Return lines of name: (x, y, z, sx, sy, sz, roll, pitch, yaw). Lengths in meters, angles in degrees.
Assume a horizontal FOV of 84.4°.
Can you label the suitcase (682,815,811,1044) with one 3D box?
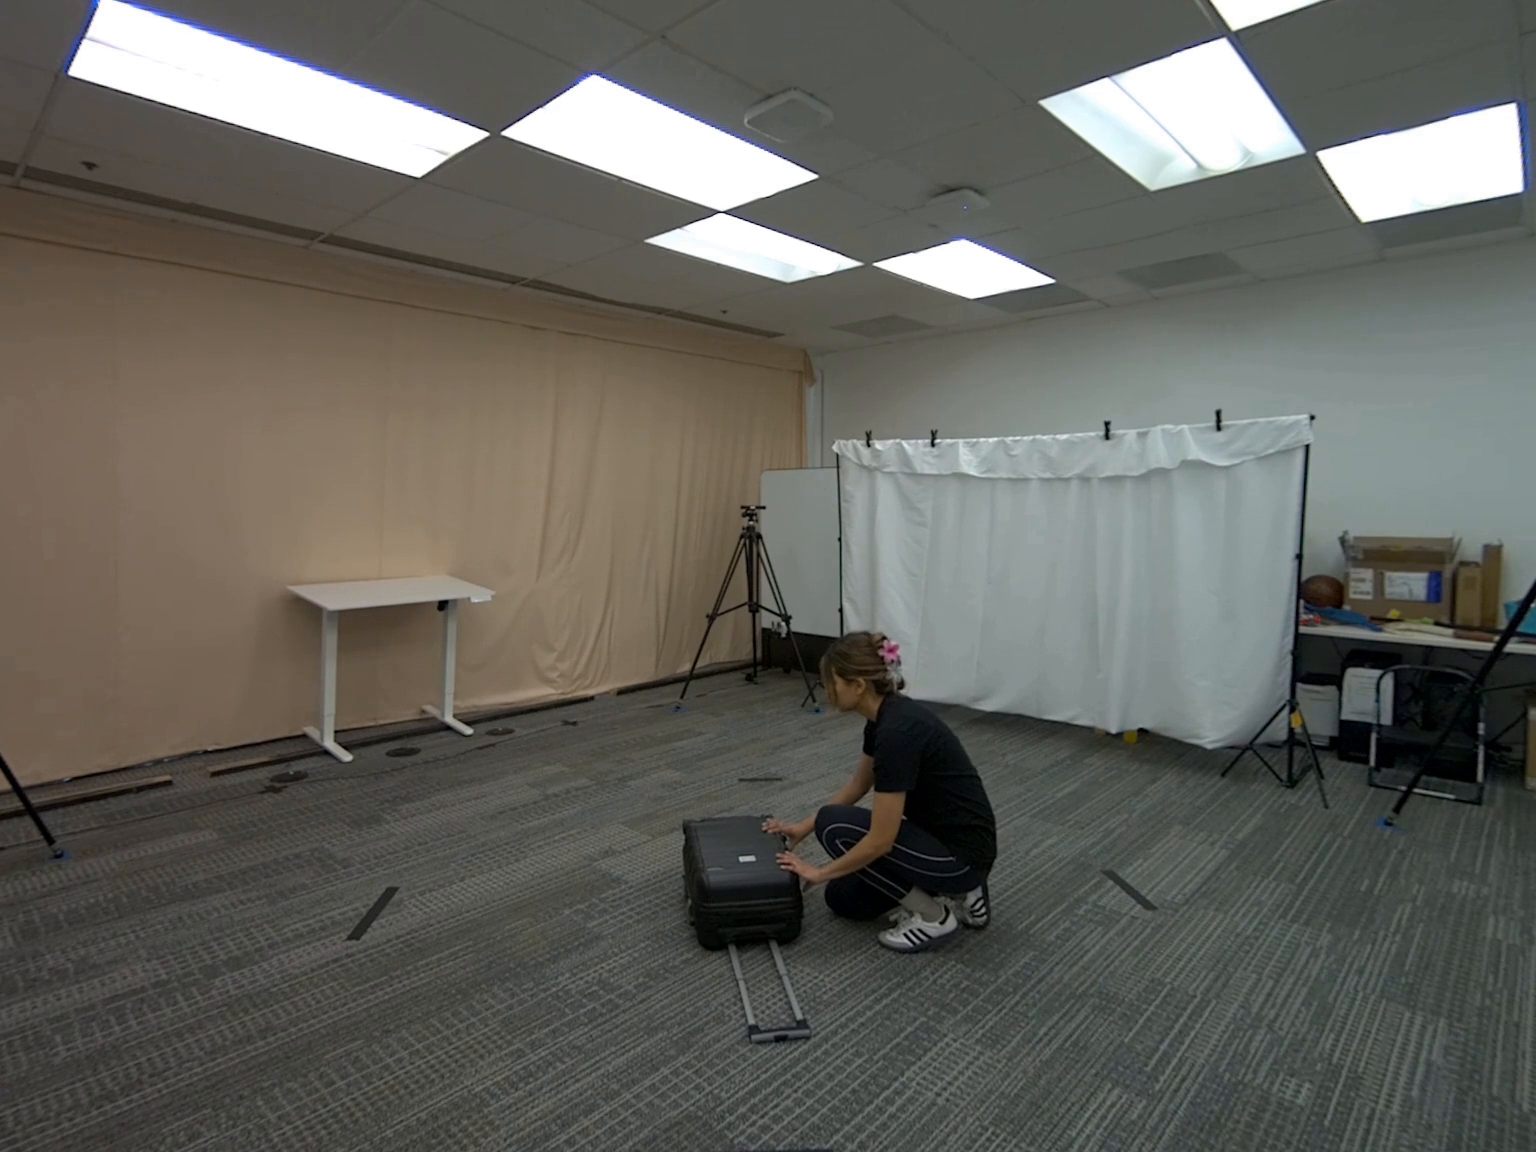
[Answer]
suitcase: (-0.061, 1.043, 2.669, 0.381, 0.256, 0.989, -1, 4, -9)
